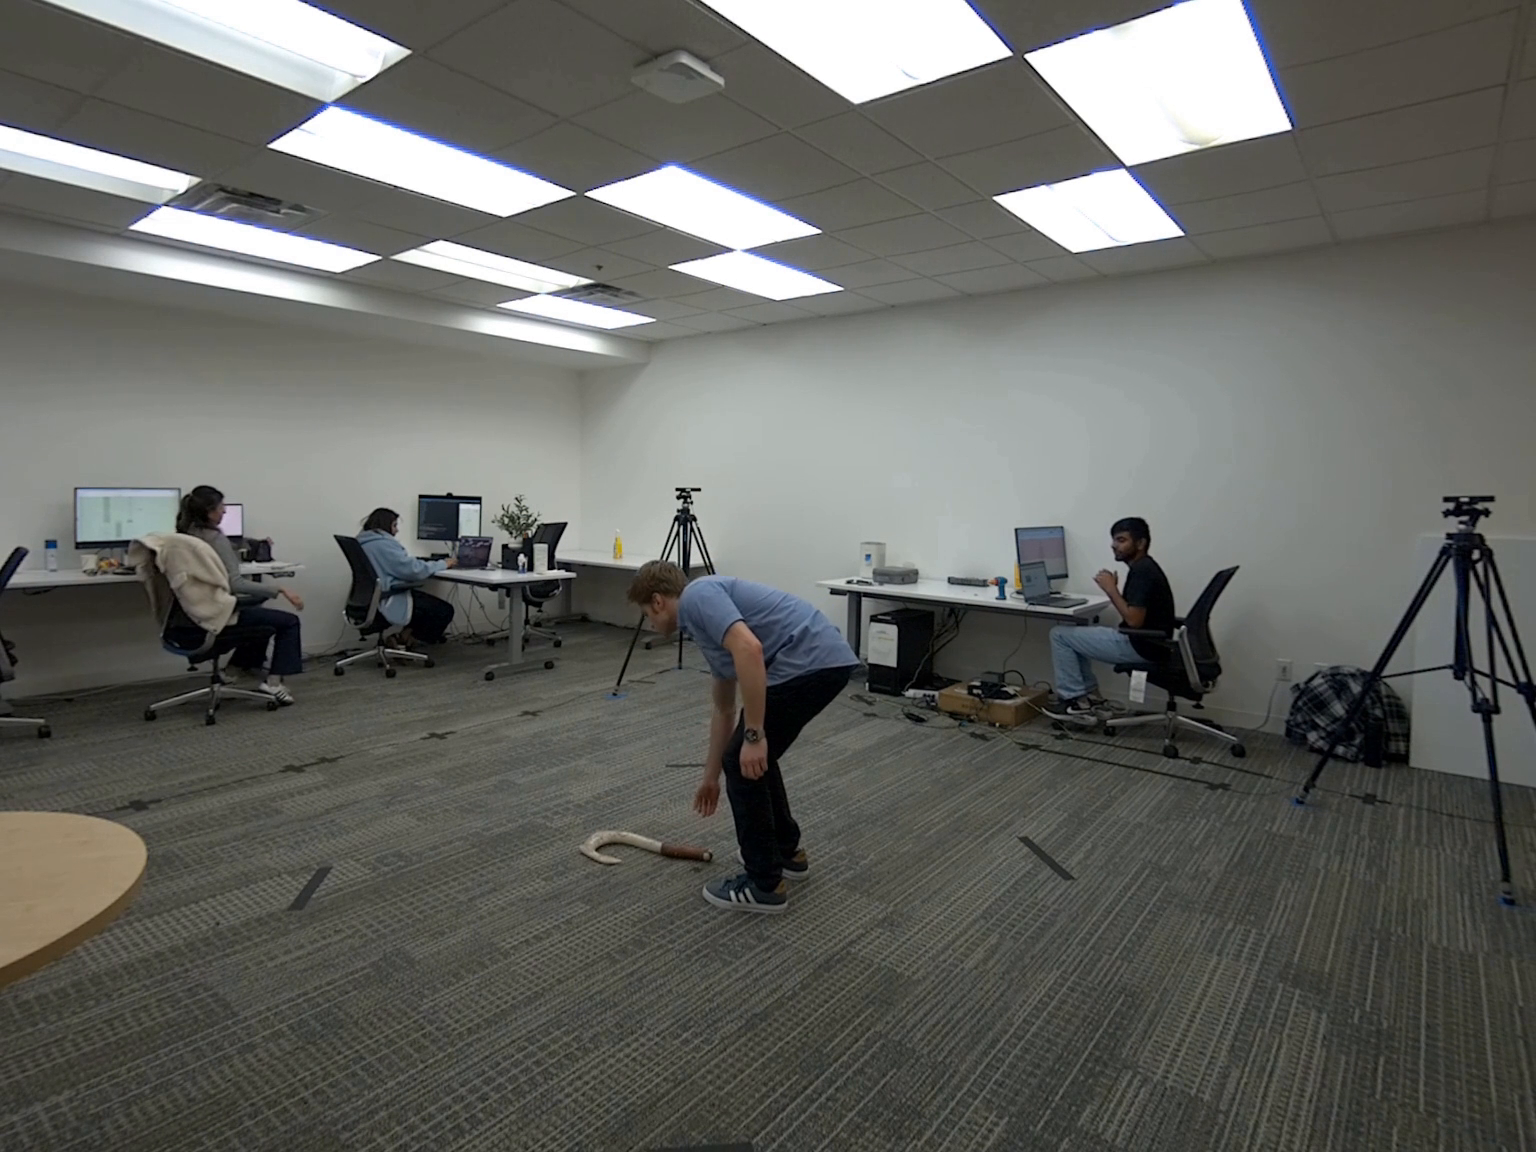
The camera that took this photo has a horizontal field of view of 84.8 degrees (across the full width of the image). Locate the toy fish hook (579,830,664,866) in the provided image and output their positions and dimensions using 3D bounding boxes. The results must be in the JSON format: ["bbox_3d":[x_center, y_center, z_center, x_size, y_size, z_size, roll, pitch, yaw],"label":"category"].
[{"bbox_3d":[-0.472,1.041,3.200,0.517,0.048,0.223,2,14,18],"label":"toy fish hook"}]
